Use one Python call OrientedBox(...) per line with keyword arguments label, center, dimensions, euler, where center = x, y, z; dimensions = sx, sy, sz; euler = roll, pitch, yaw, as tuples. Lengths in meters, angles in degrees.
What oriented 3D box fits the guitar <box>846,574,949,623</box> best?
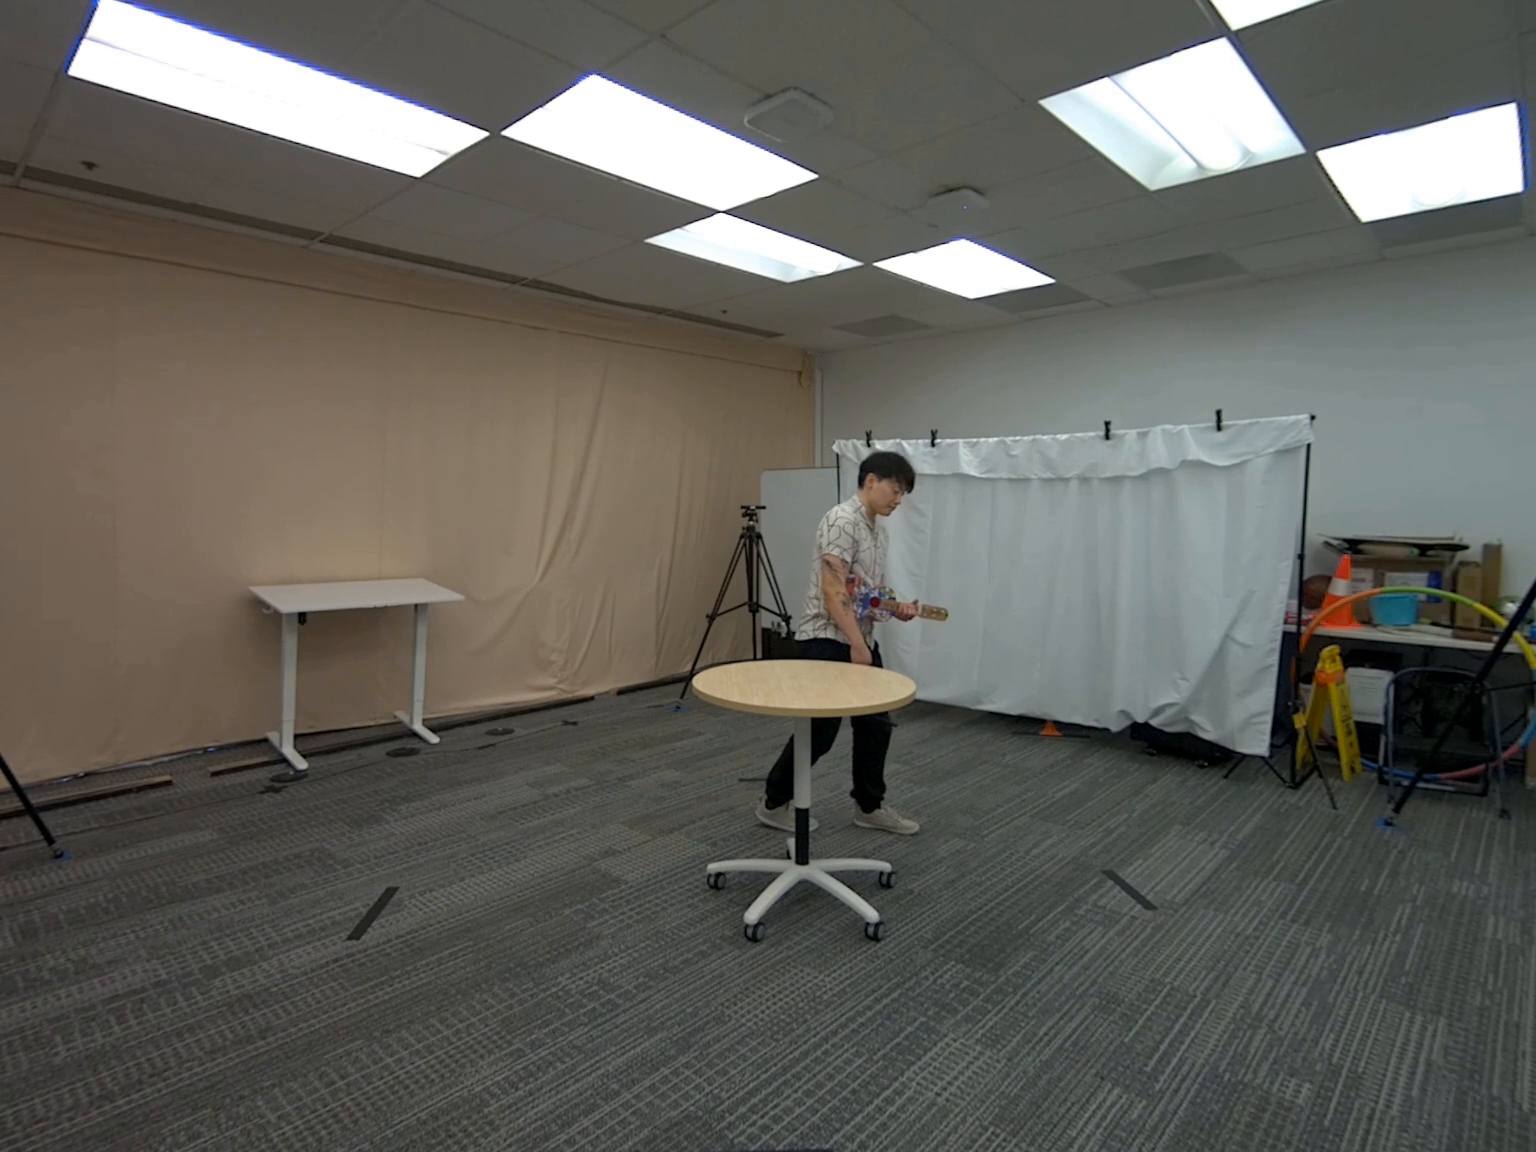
OrientedBox(label="guitar", center=(0.492, 0.149, 3.457), dimensions=(0.492, 0.193, 0.071), euler=(19, -7, -9))
